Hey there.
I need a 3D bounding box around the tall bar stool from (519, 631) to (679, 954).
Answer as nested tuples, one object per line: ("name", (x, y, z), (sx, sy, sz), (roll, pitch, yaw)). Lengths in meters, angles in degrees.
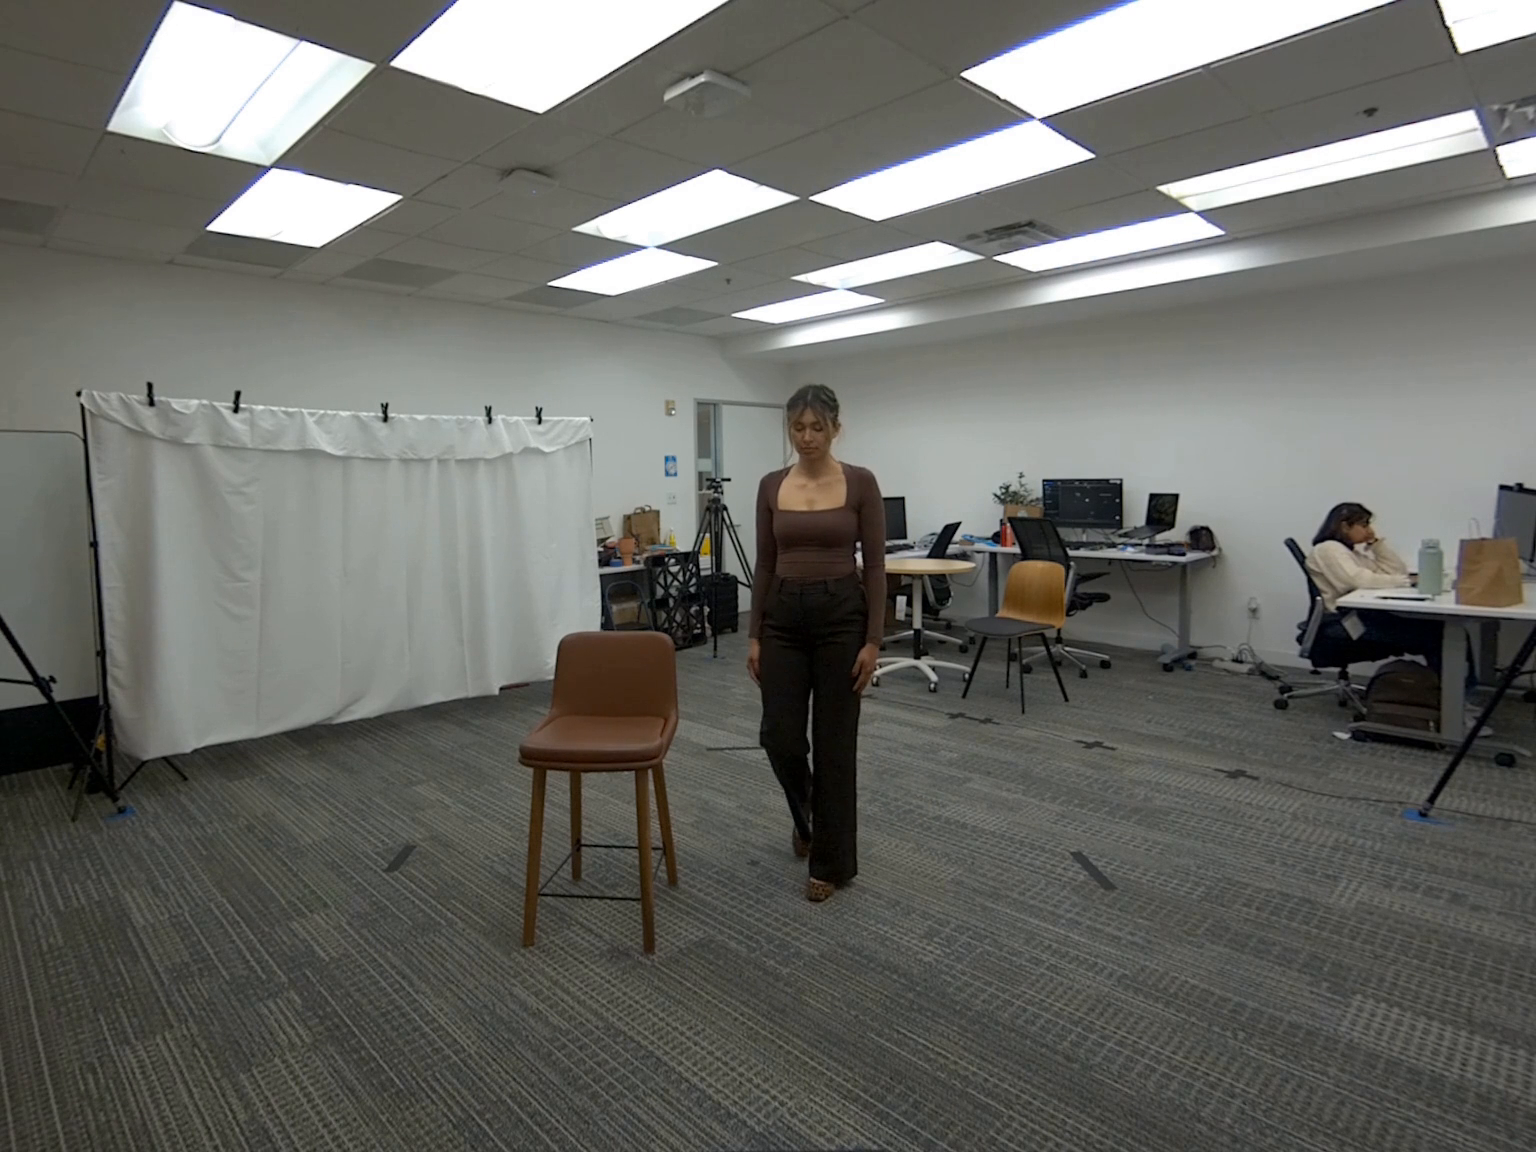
("tall bar stool", (-0.522, 0.658, 2.744), (0.460, 0.887, 0.465), (0, 3, 7))
